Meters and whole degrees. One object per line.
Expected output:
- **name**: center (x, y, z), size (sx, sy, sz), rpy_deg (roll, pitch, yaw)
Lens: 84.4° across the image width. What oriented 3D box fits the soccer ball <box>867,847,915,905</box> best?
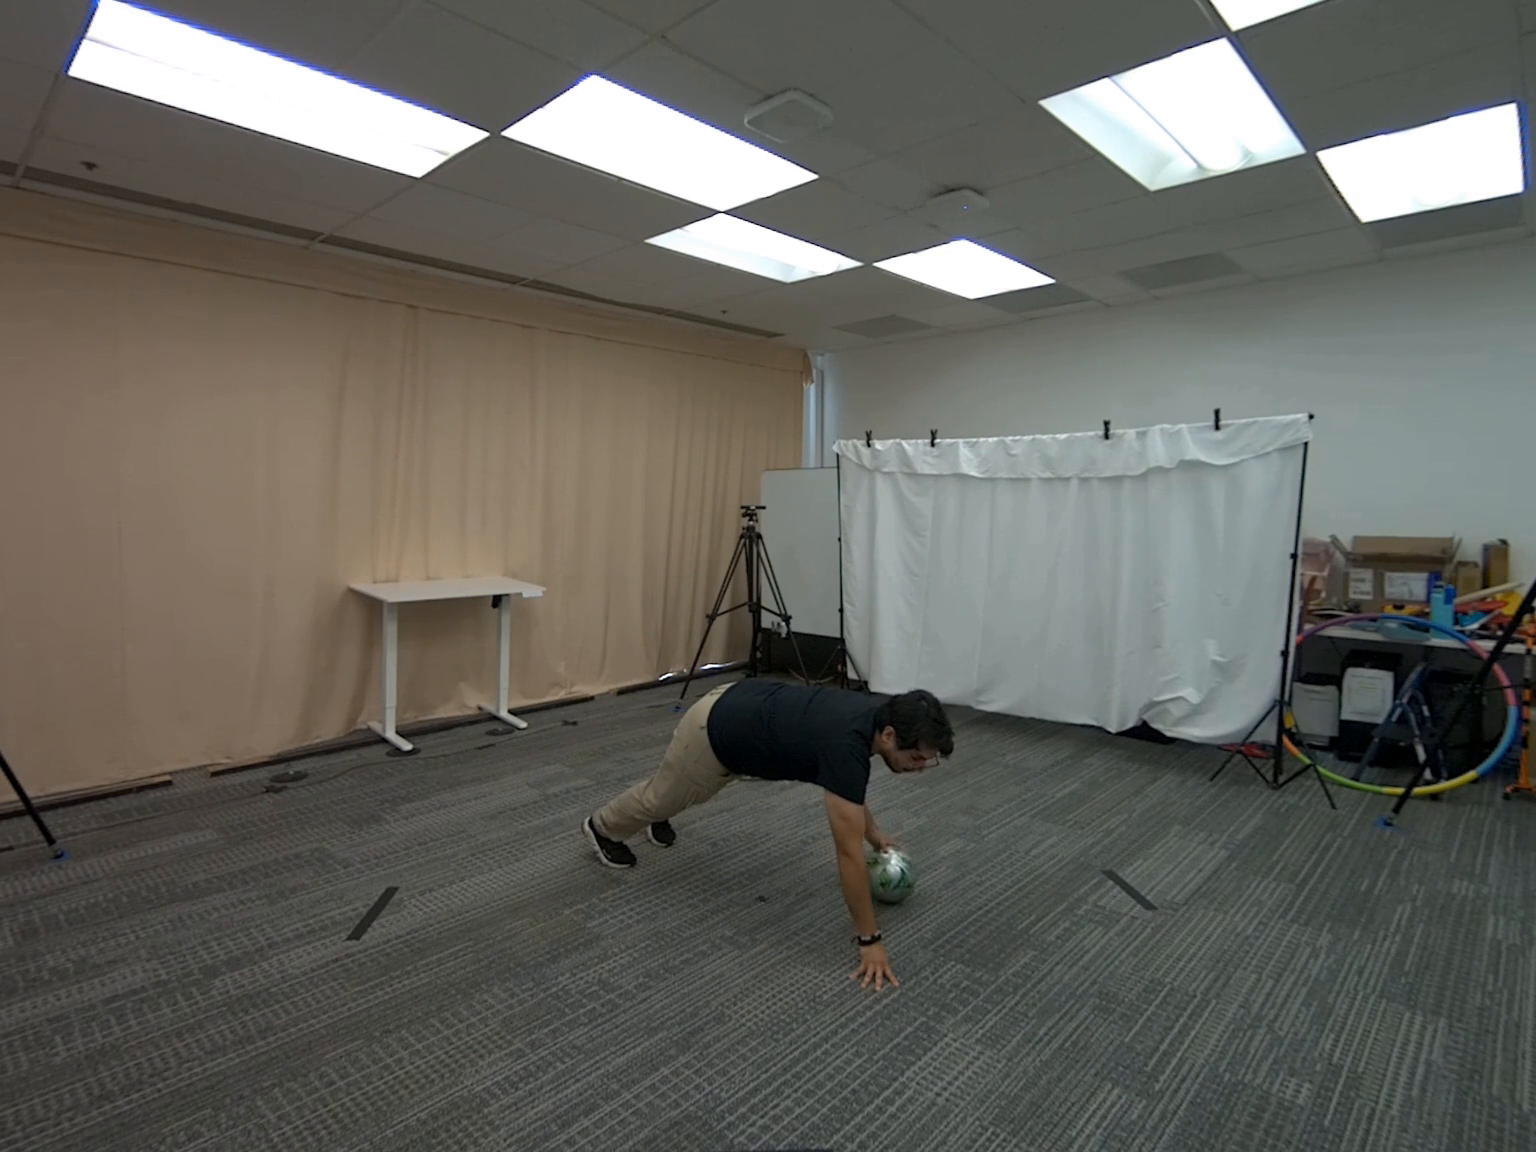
- **soccer ball**: center (0.426, 1.054, 2.954), size (0.187, 0.187, 0.188), rpy_deg (0, 4, -2)
